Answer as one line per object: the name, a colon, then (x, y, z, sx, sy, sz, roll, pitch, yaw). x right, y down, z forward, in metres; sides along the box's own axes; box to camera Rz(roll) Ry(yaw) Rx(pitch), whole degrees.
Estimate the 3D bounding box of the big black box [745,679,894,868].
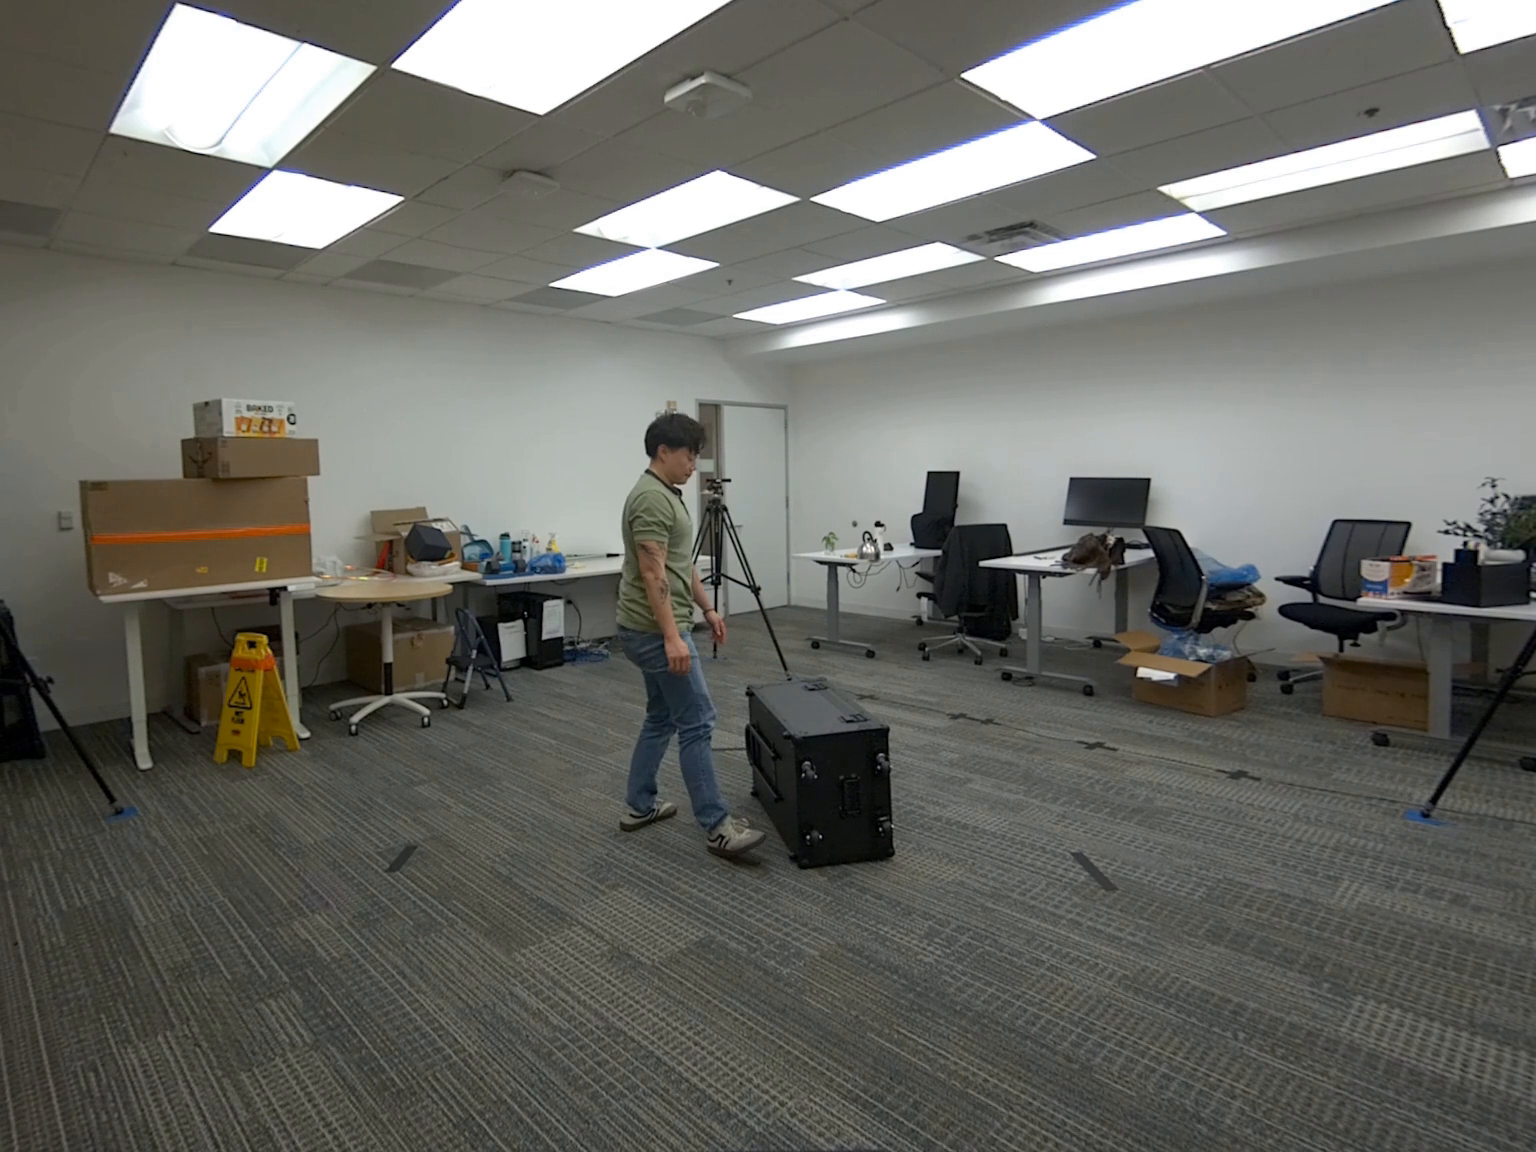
big black box: (0.175, 0.745, 3.407, 0.392, 0.519, 0.875, -5, 6, -13)
